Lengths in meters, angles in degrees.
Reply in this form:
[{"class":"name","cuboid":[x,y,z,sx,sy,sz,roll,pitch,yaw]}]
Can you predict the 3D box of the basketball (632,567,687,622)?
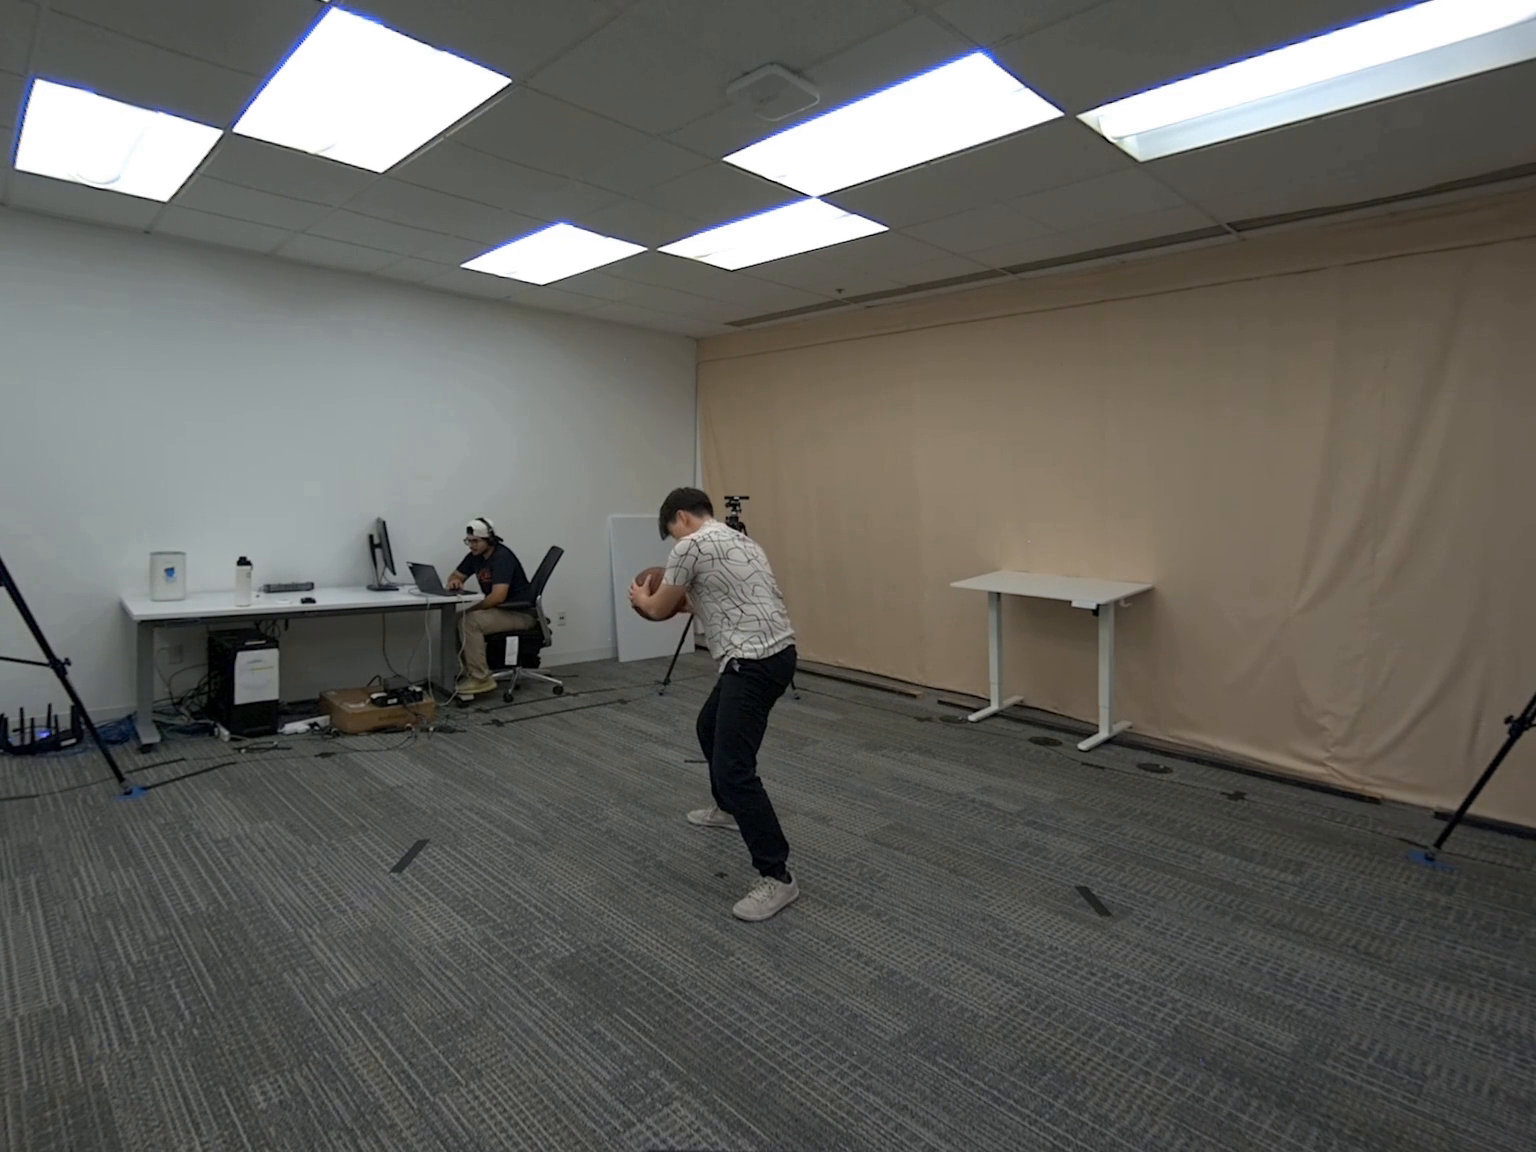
[{"class":"basketball","cuboid":[-0.482,0.081,3.659,0.236,0.235,0.237,1,4,-1]}]
